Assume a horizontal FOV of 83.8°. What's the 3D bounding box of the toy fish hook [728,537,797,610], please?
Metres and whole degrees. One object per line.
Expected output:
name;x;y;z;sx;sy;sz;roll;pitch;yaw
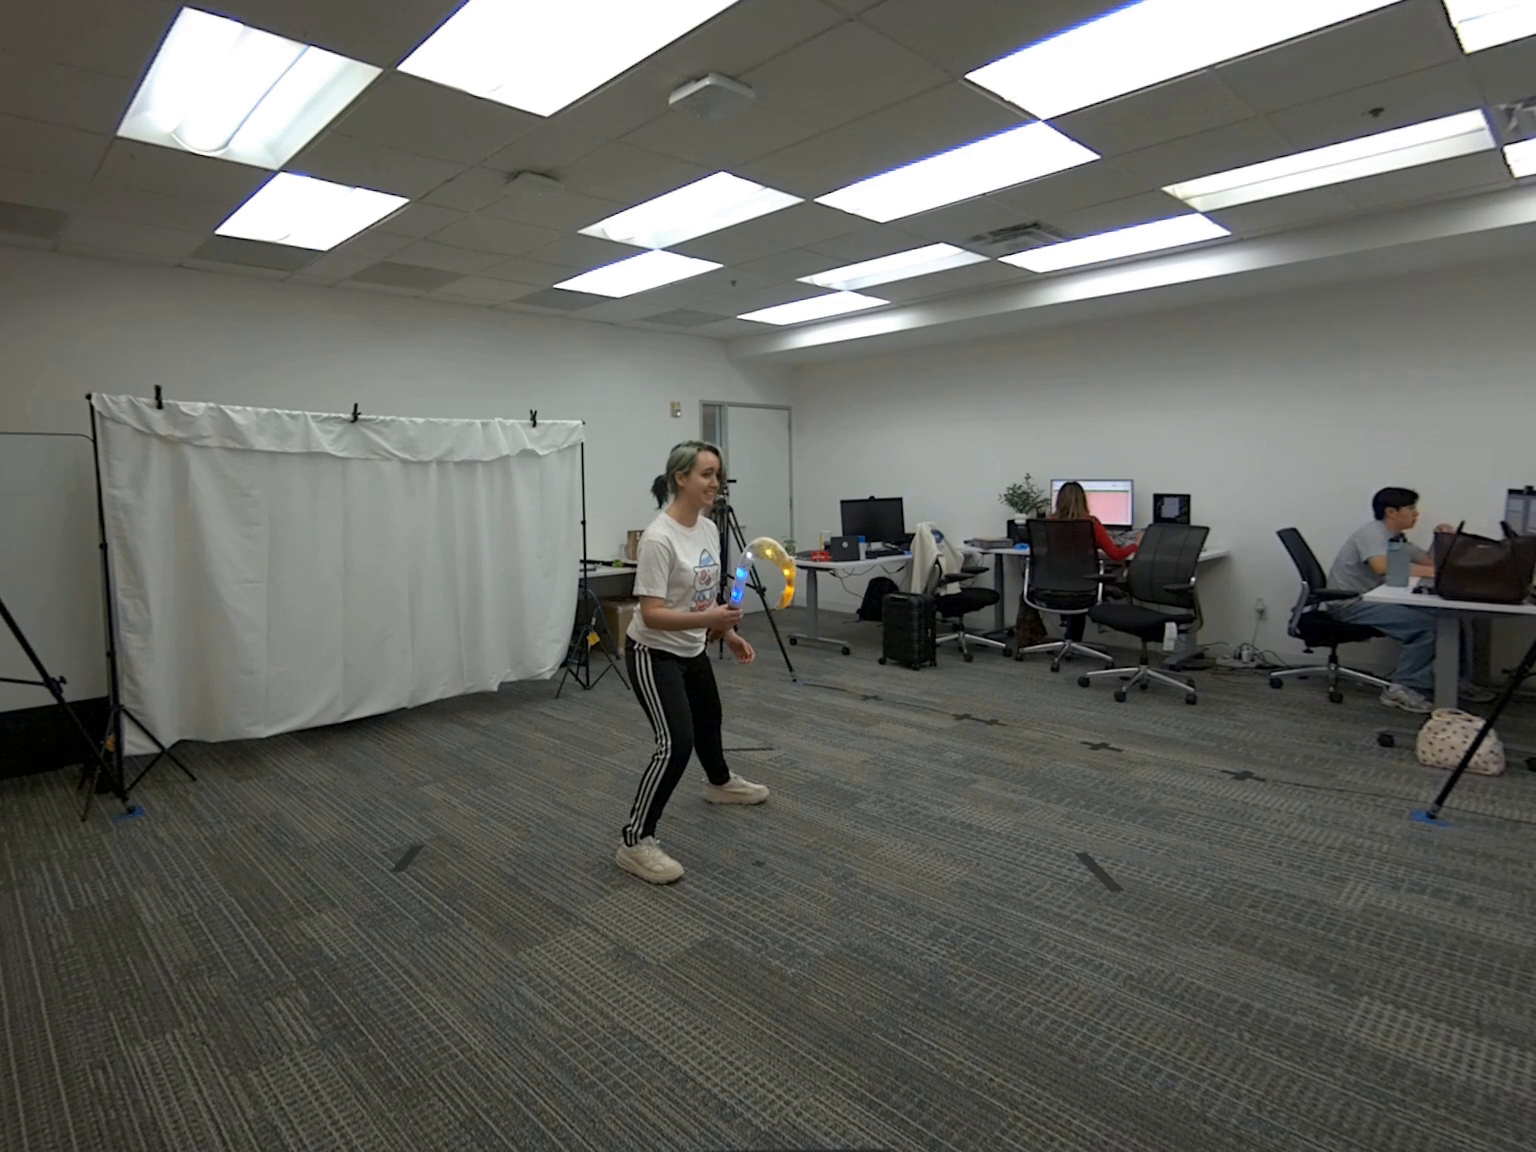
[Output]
toy fish hook;-0.055;0.092;2.835;0.047;0.502;0.231;-16;58;-45
